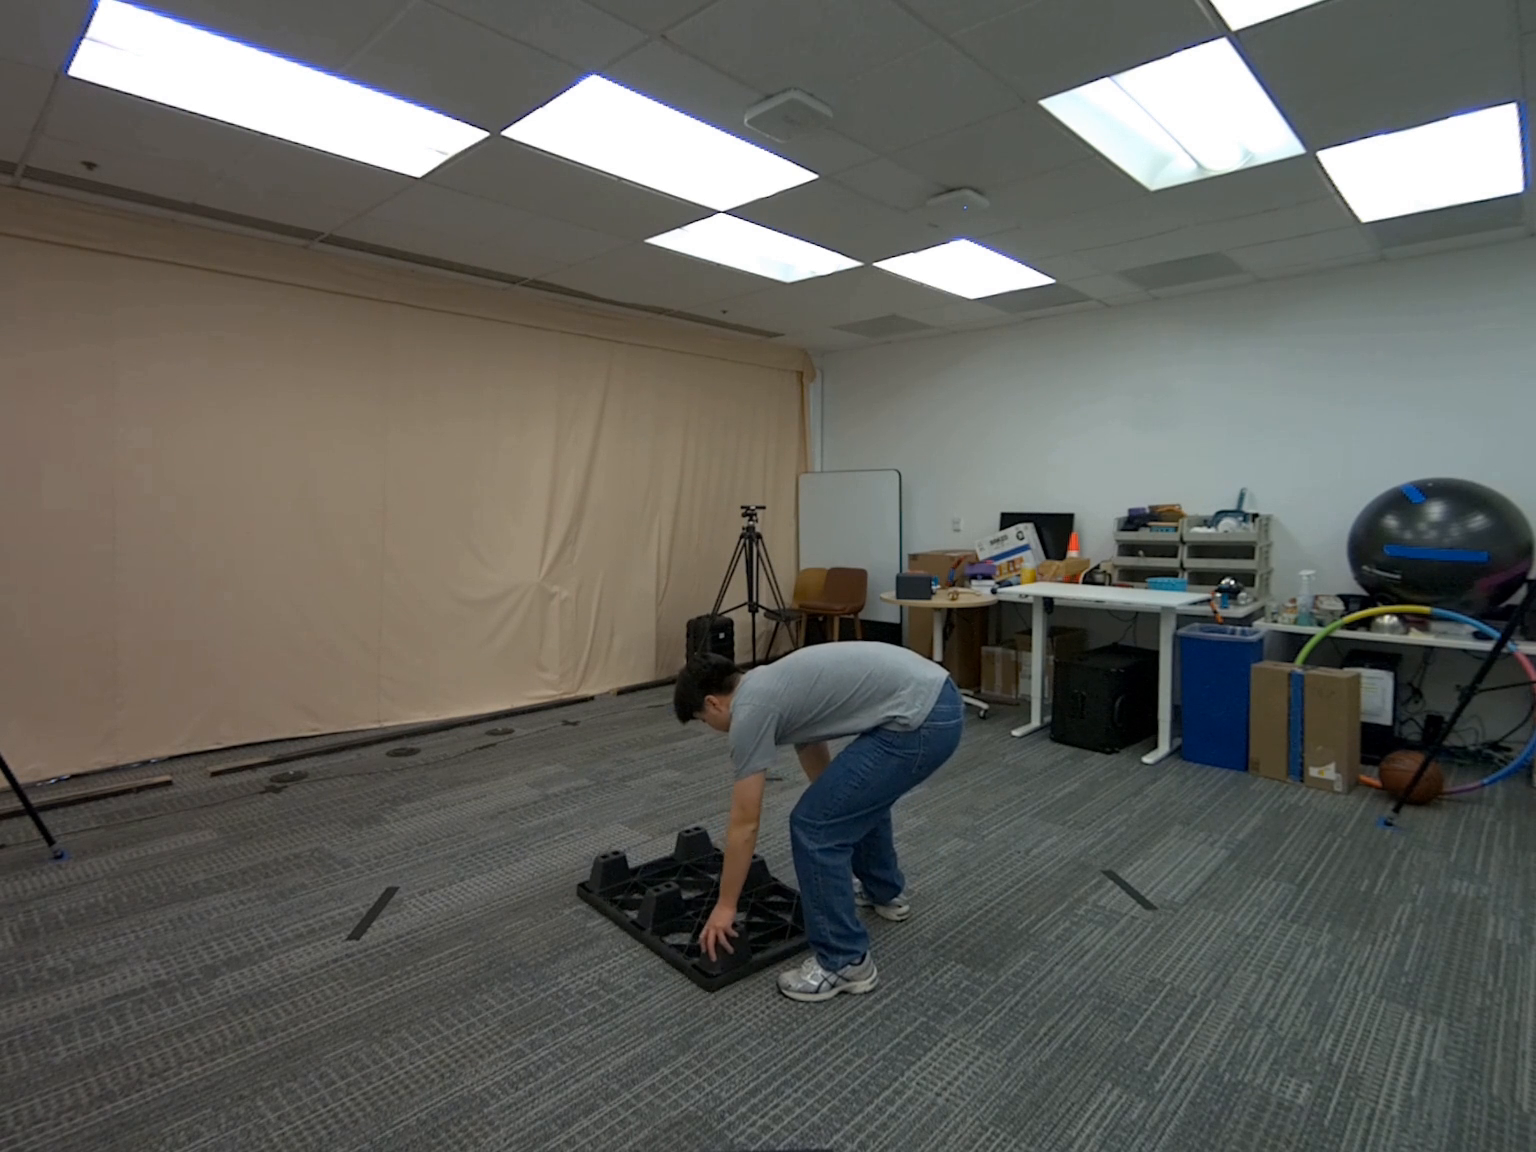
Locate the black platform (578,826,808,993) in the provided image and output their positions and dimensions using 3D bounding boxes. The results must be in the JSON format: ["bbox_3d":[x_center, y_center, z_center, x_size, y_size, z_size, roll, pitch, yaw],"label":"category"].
[{"bbox_3d":[-0.203,1.087,2.890,0.587,0.143,0.832,-5,7,-41],"label":"black platform"}]
